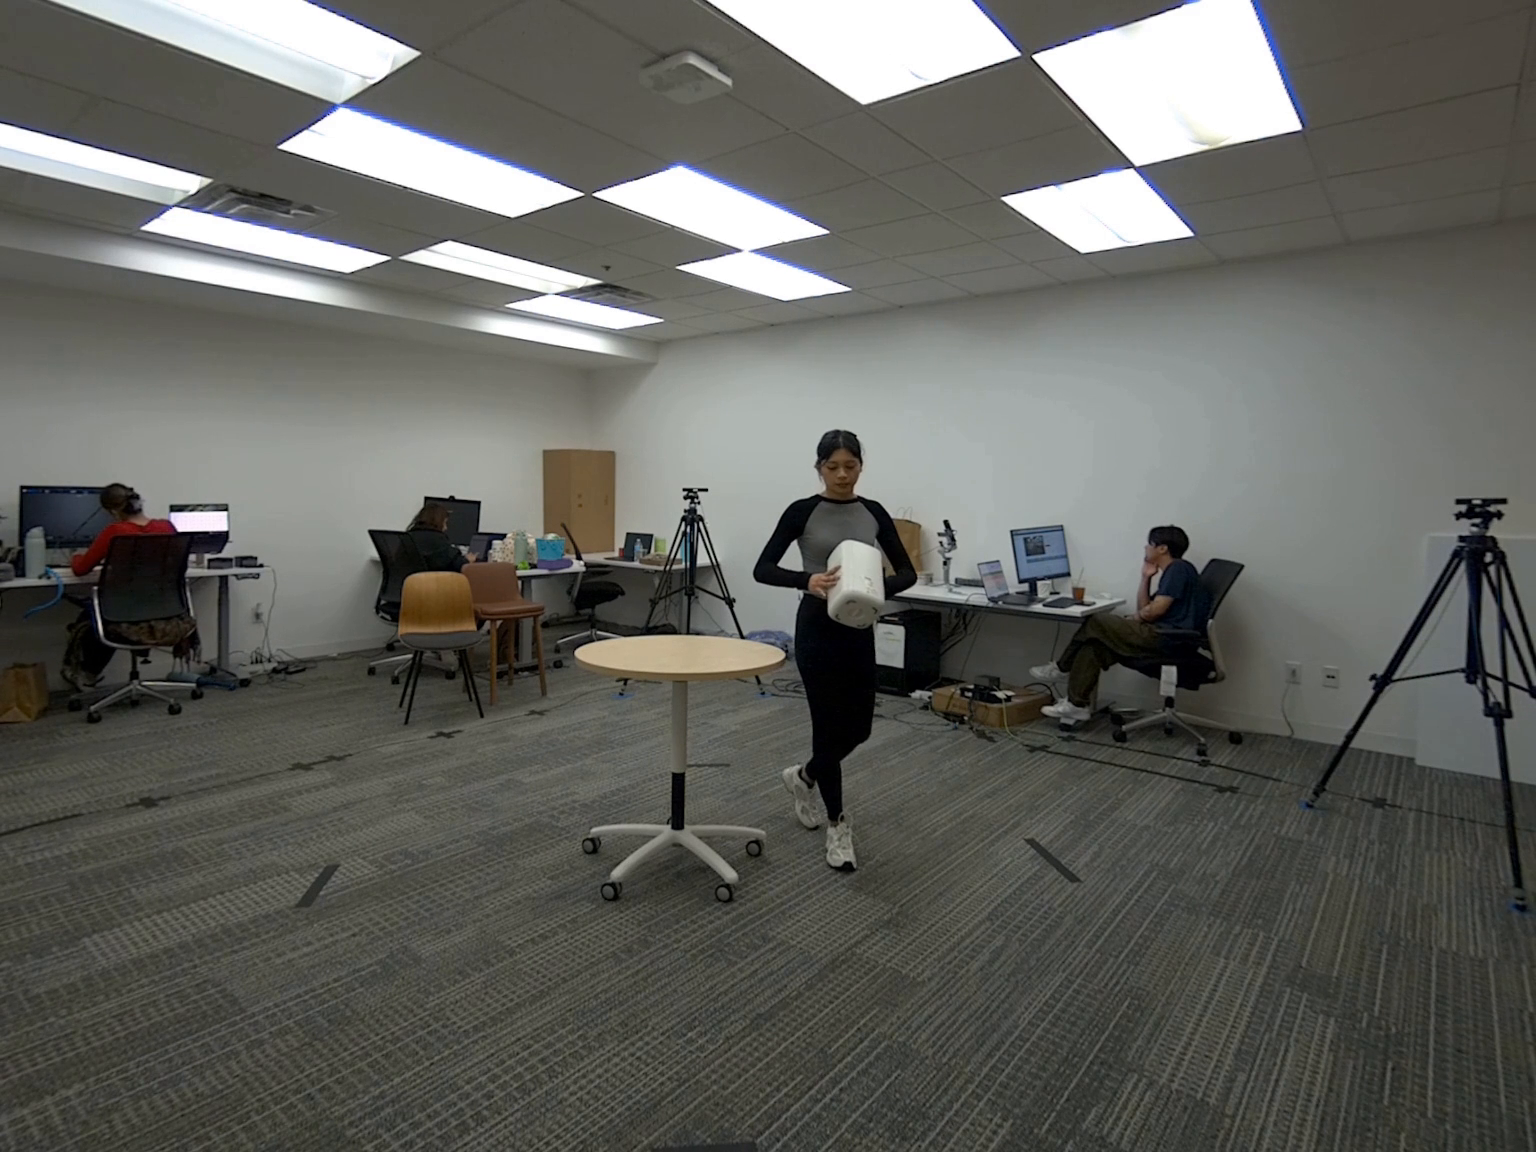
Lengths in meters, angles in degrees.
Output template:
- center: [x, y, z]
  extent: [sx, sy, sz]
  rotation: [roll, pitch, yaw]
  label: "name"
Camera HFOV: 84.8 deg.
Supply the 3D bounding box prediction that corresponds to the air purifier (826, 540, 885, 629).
- center: [0.302, 0.028, 3.023]
  extent: [0.168, 0.273, 0.170]
  rotation: [18, -46, -16]
  label: "air purifier"
